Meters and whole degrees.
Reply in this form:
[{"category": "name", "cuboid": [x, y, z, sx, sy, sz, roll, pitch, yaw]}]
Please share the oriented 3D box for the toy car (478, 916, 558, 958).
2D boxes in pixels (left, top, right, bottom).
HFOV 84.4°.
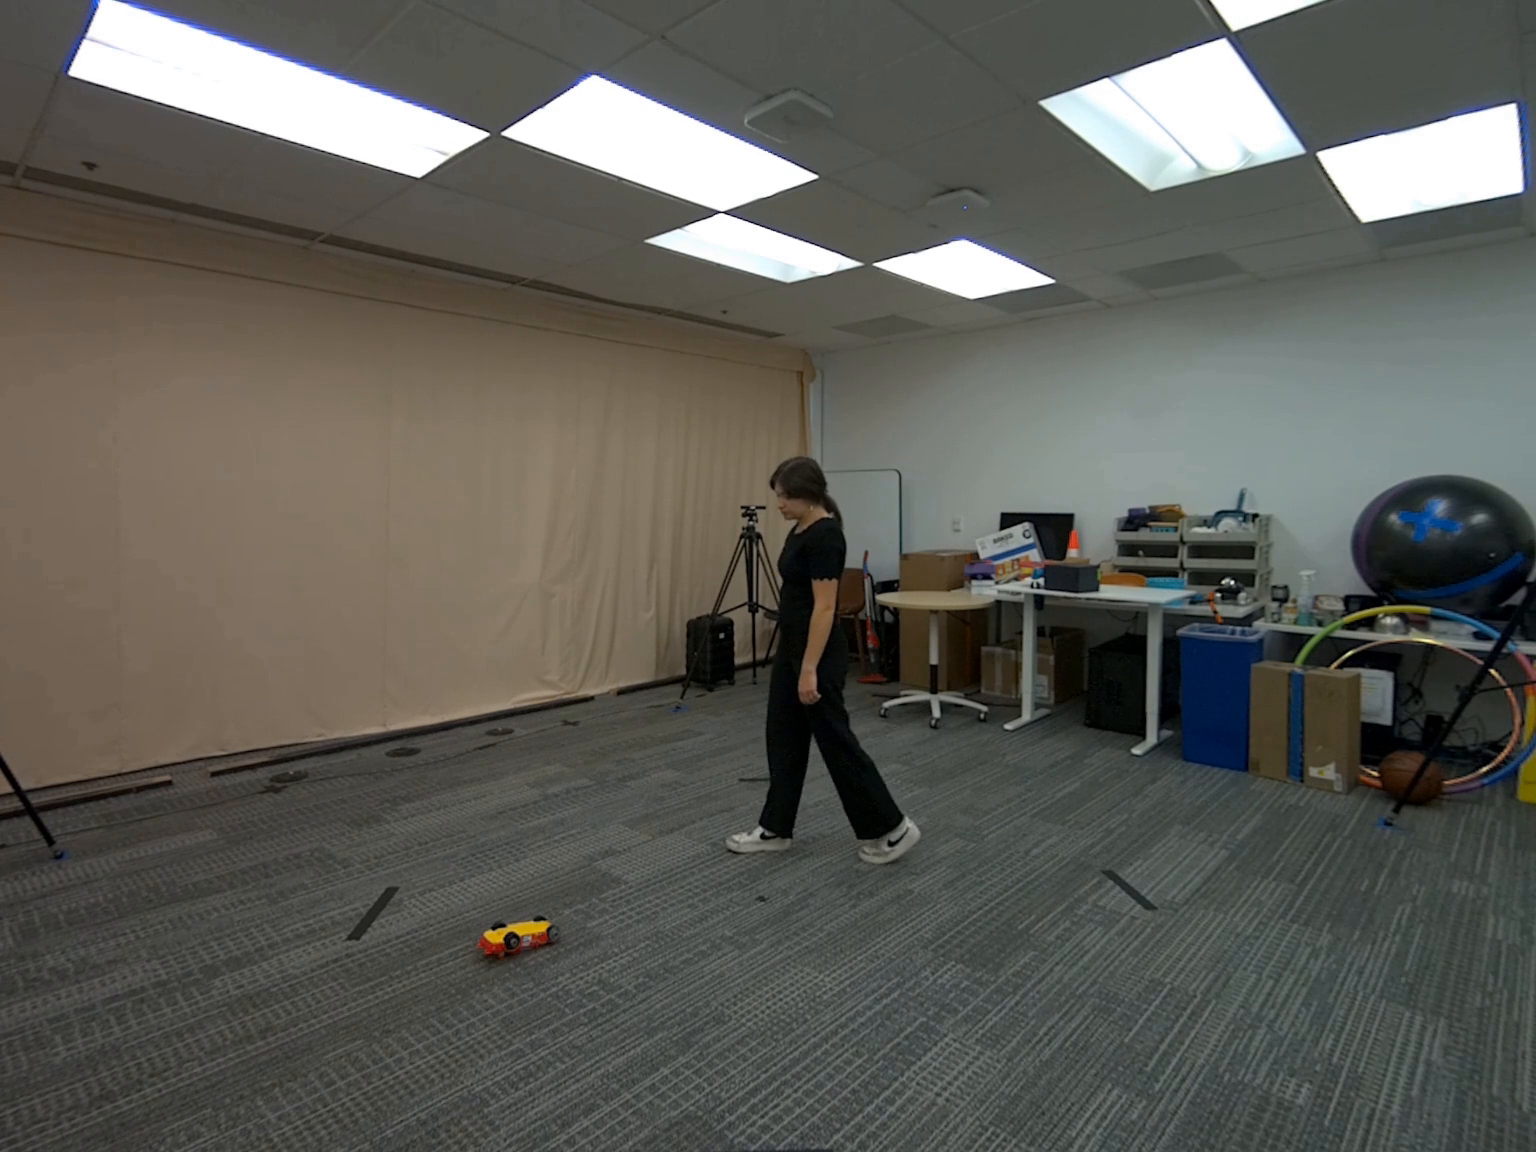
[{"category": "toy car", "cuboid": [-0.787, 1.138, 2.653, 0.247, 0.083, 0.135, -5, 7, -42]}]
